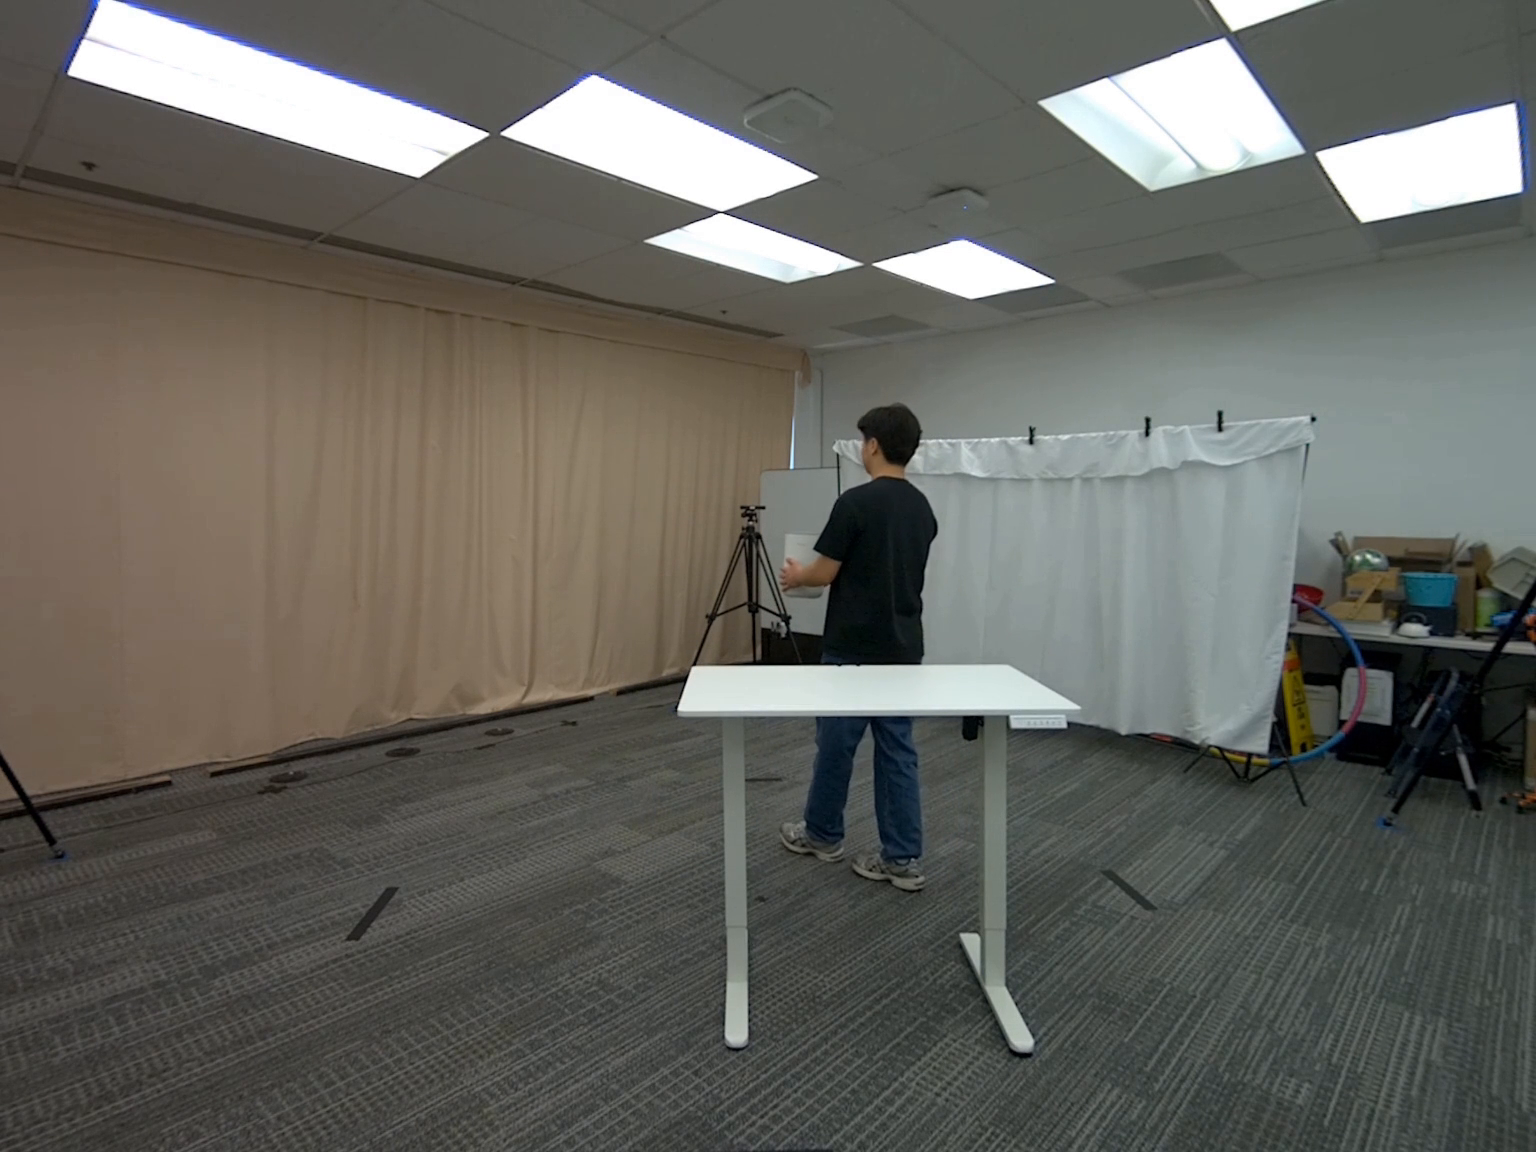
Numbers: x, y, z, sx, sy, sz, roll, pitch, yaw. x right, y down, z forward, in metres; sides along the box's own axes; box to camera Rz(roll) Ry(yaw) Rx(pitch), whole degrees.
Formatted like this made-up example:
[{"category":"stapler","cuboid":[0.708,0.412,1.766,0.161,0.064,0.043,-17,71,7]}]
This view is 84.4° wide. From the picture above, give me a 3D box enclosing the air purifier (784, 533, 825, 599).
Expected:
[{"category":"air purifier","cuboid":[0.148,-0.047,3.474,0.172,0.265,0.170,2,3,6]}]
